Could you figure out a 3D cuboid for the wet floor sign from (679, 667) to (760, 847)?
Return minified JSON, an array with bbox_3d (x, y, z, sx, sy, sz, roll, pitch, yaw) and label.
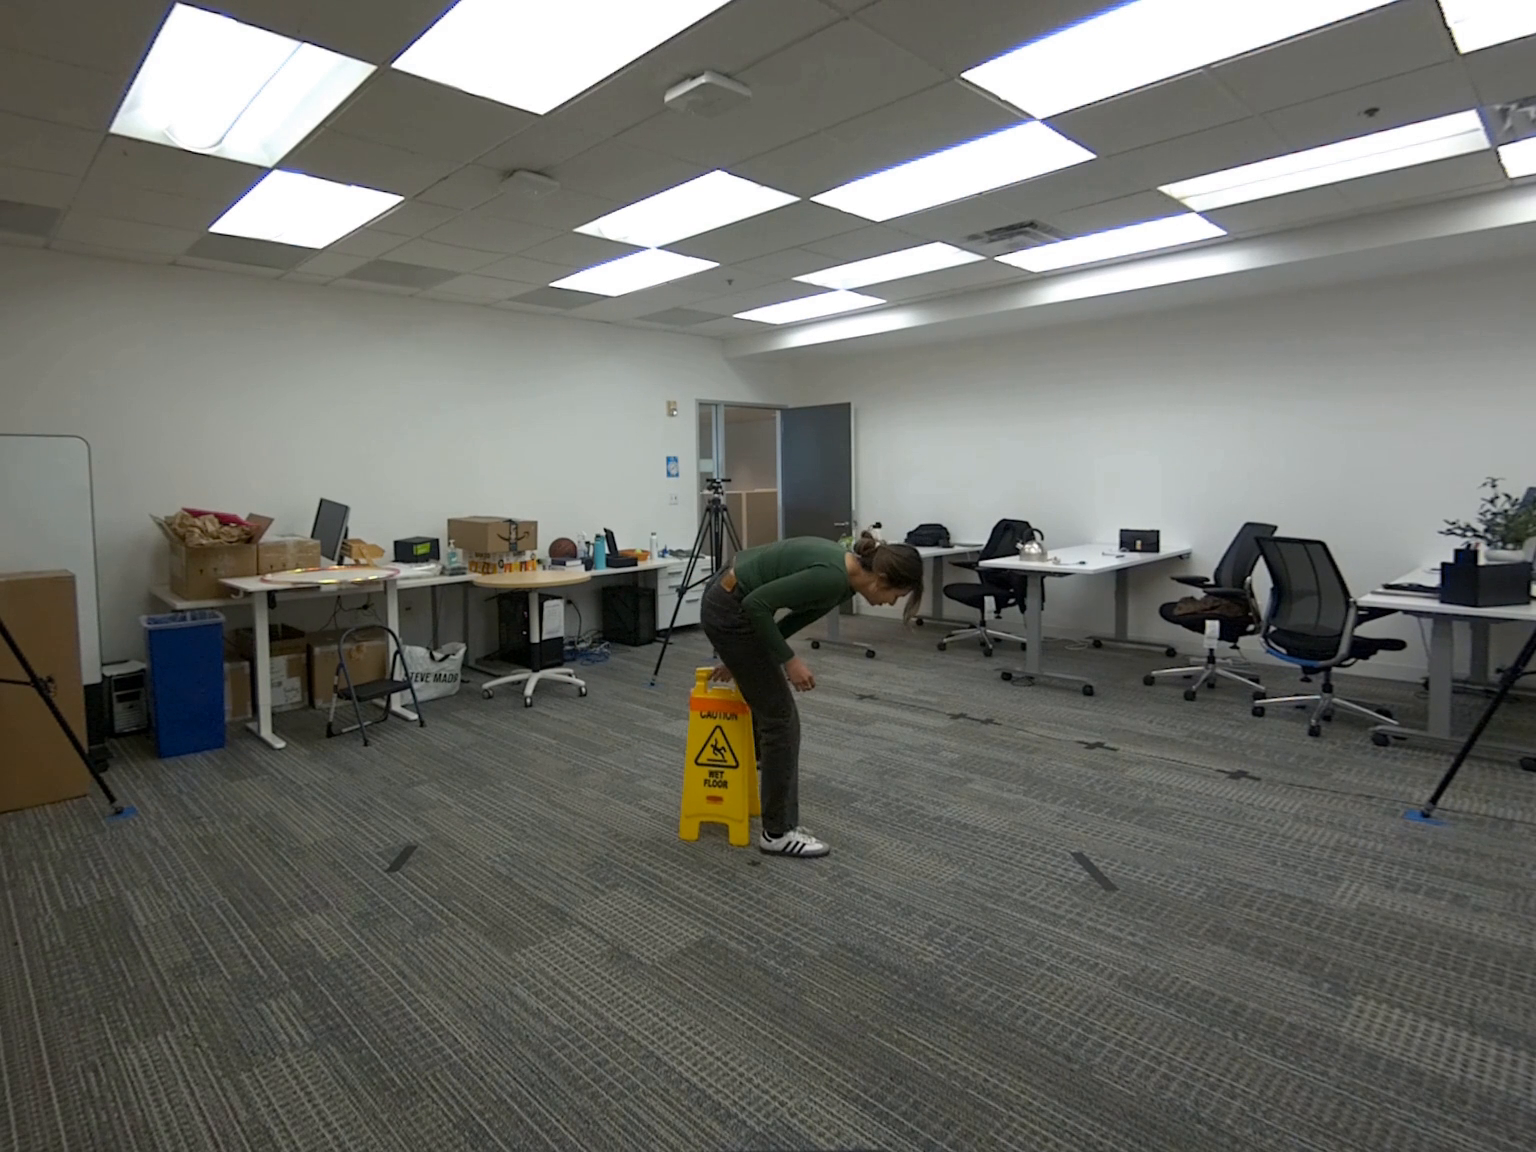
[{"bbox_3d":[-0.193,0.690,3.407,0.285,0.643,0.288,0,5,11],"label":"wet floor sign"}]
